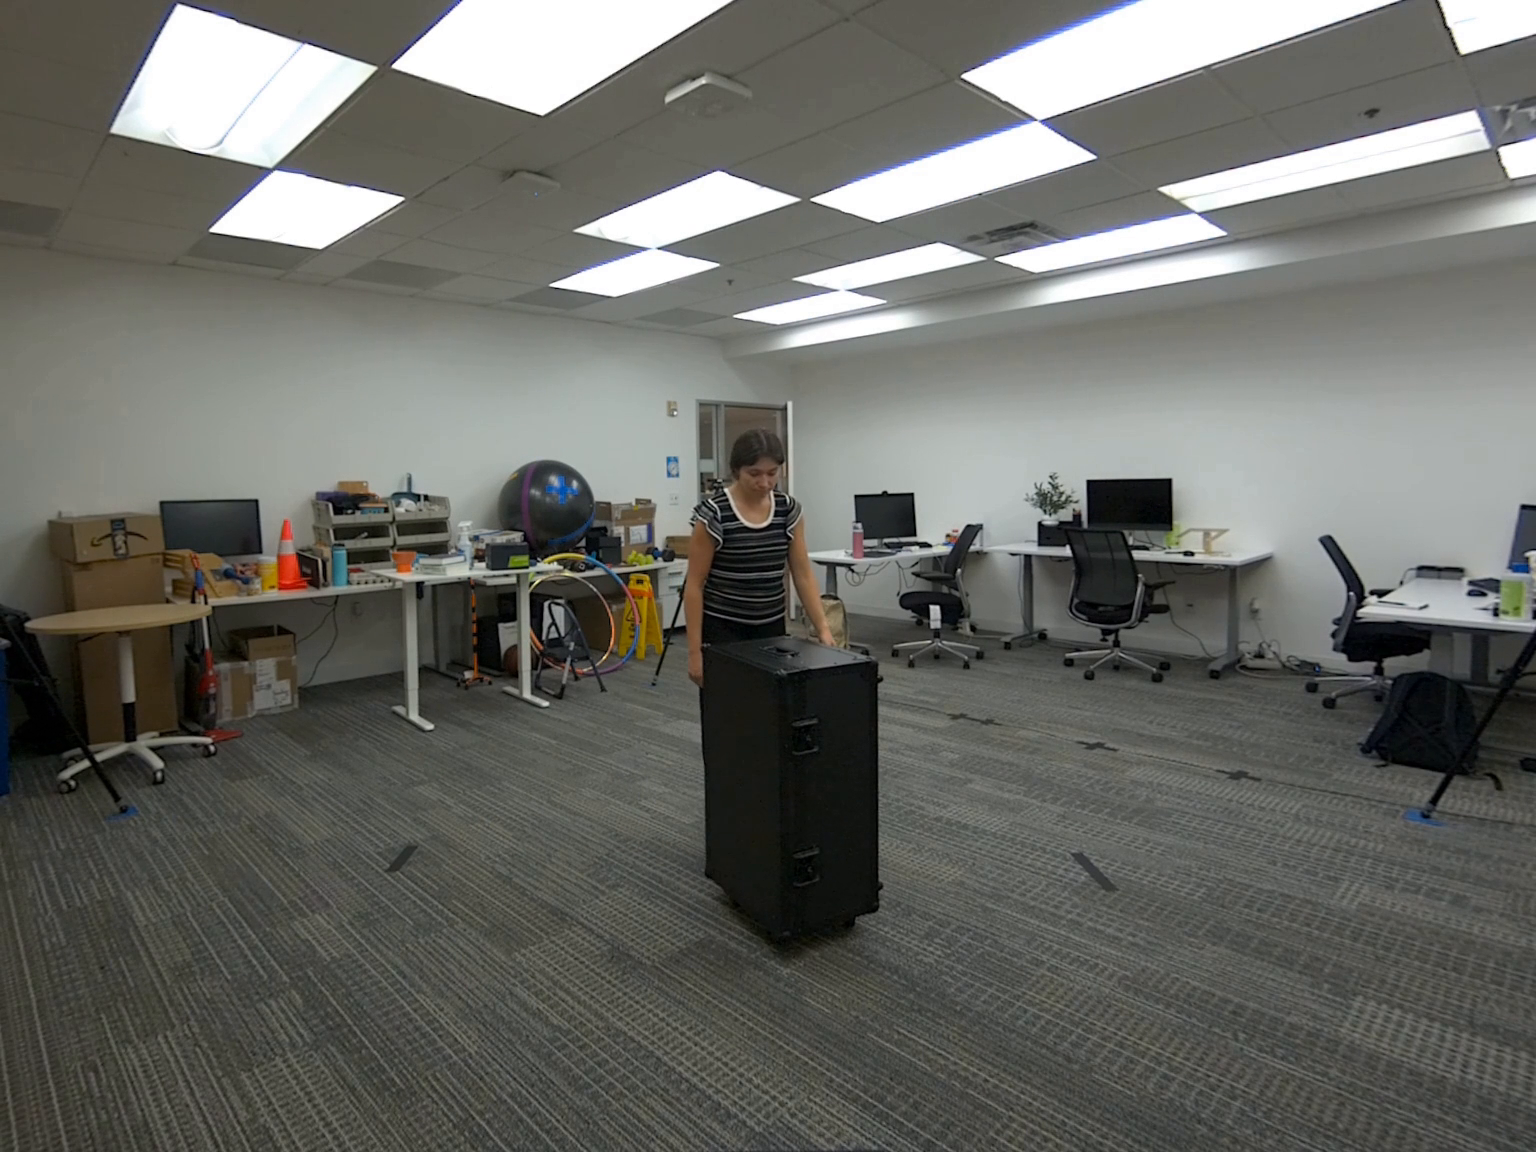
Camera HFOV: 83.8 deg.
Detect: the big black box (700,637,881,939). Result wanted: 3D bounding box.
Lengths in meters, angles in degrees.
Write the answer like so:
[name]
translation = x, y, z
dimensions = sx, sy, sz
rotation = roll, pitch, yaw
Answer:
[big black box]
translation = 0.072, 0.664, 2.719
dimensions = 0.387, 0.859, 0.535
rotation = -2, 4, -30
